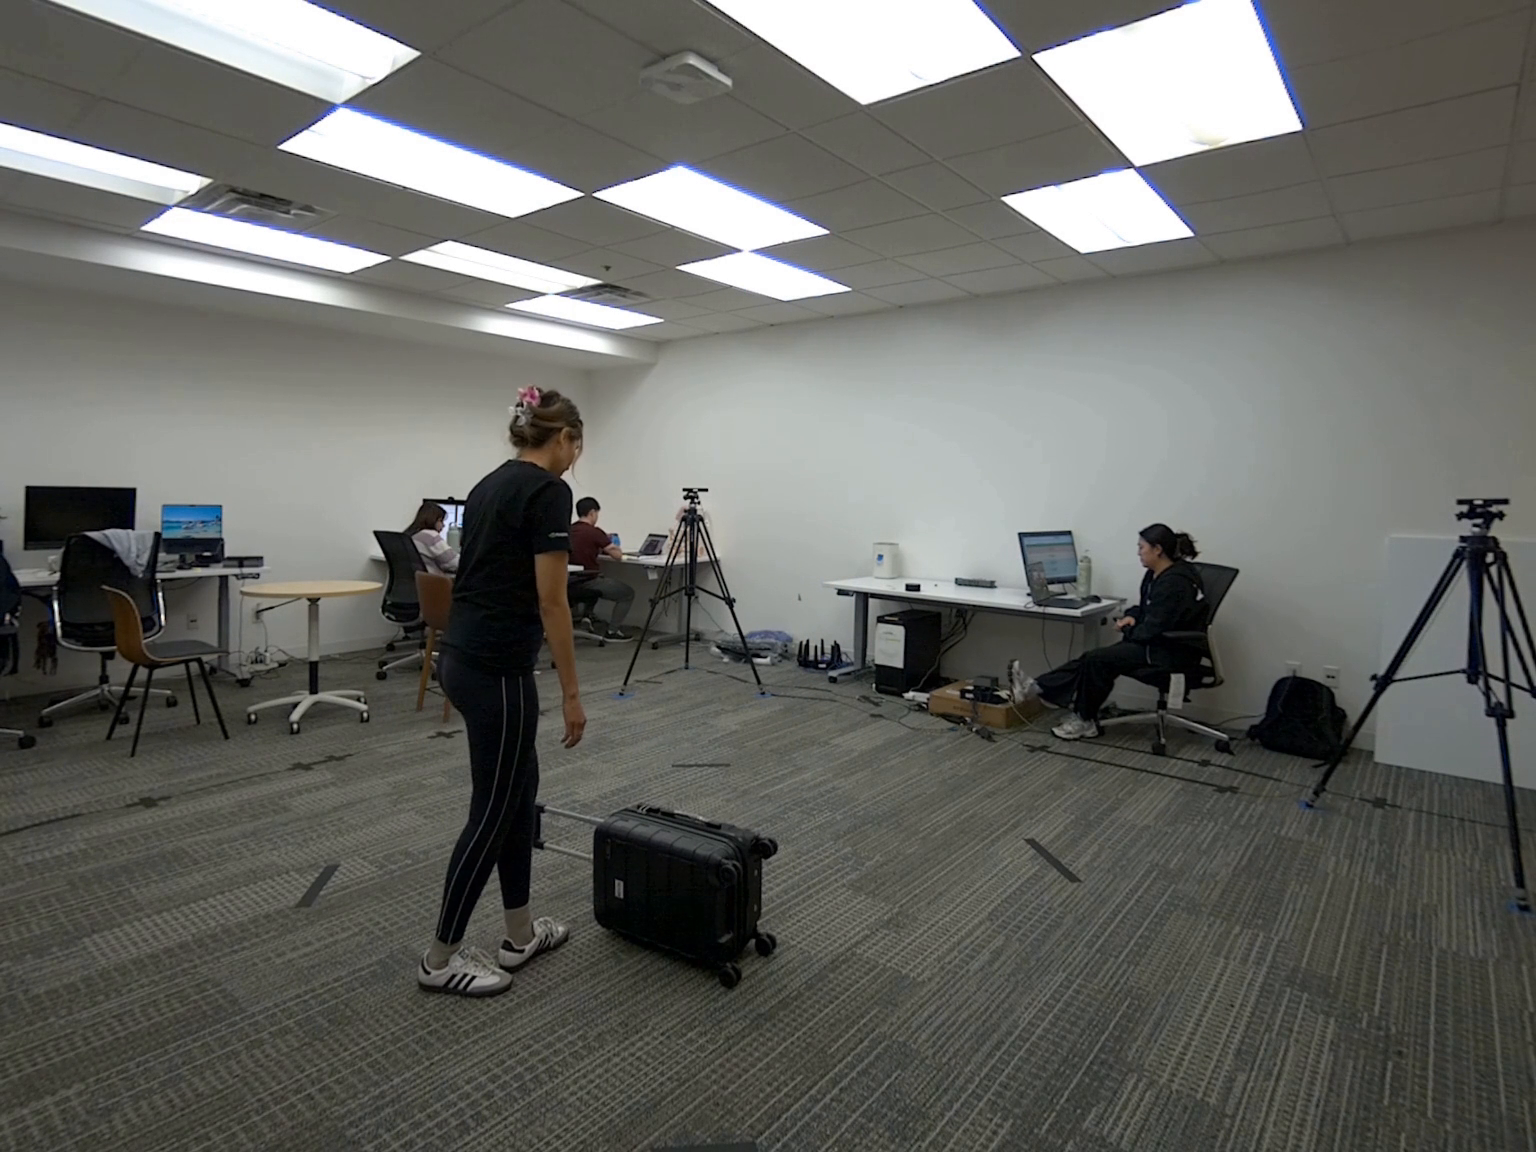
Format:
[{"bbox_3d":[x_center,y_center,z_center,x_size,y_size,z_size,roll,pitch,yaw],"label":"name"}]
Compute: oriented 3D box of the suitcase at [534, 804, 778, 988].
[{"bbox_3d":[-0.460,0.917,2.703,1.007,0.383,0.250,4,3,30],"label":"suitcase"}]
